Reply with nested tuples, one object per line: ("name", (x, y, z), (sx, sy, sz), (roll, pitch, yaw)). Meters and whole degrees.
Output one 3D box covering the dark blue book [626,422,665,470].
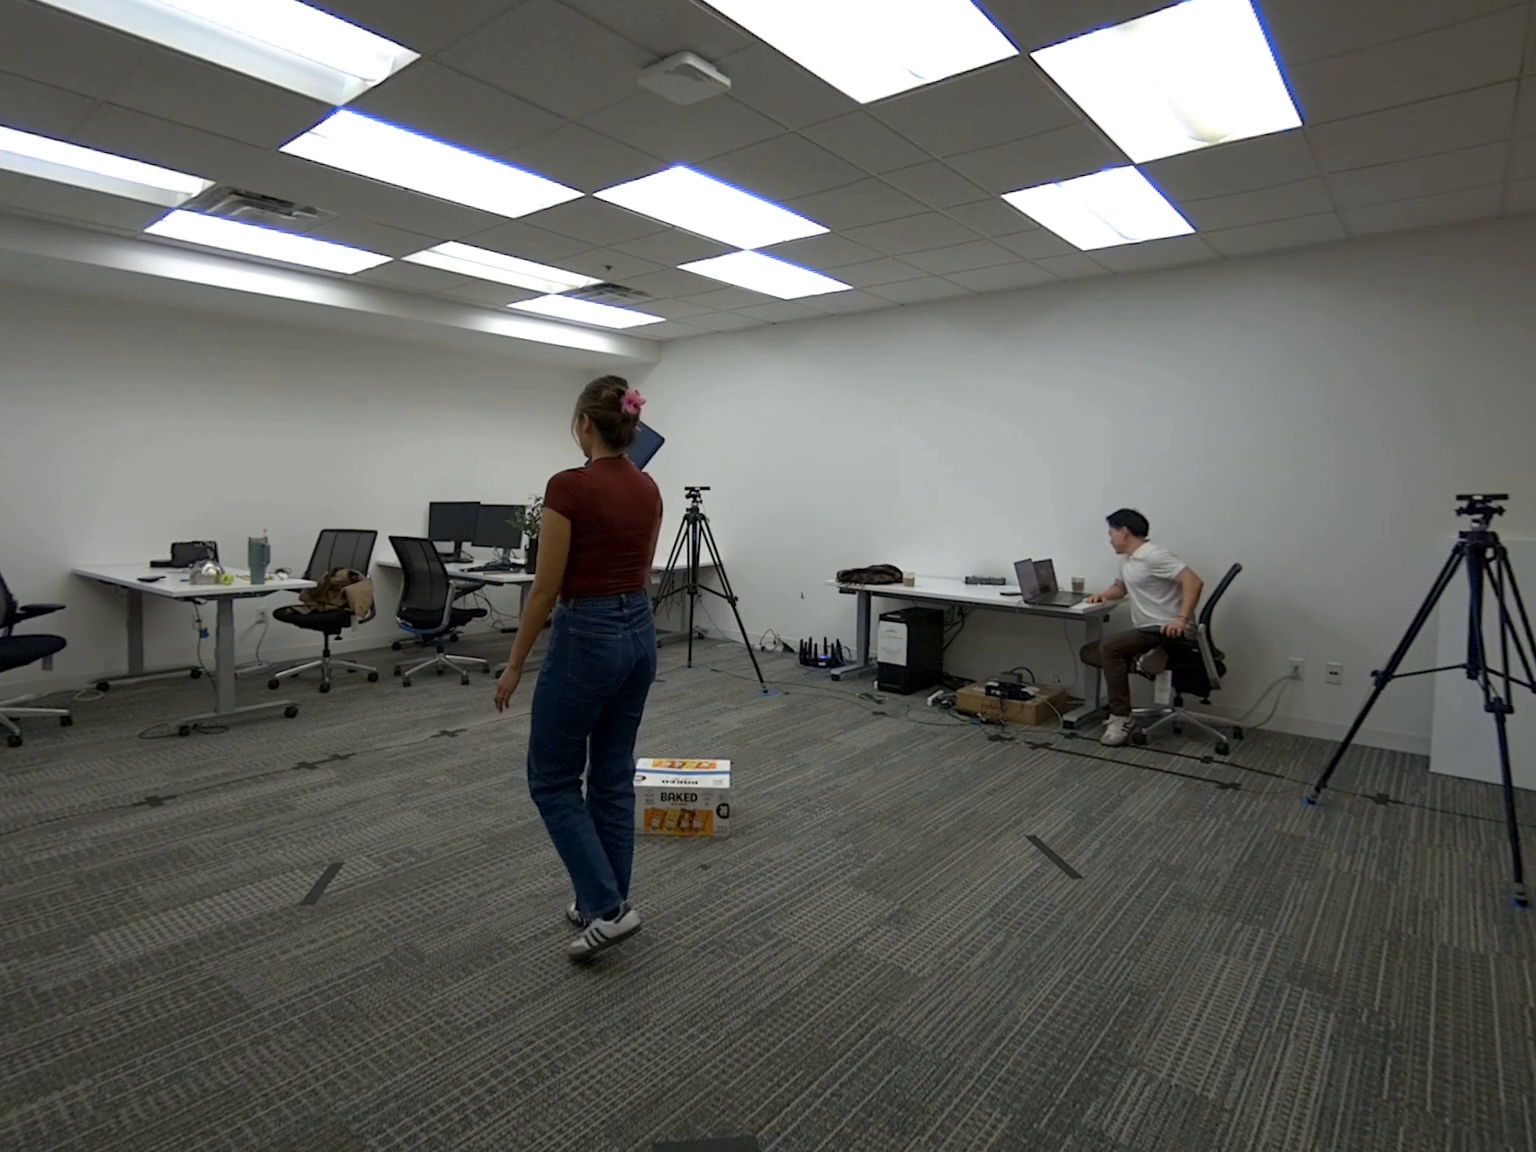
("dark blue book", (-0.498, -0.421, 2.906), (0.164, 0.245, 0.045), (36, -12, 4))
